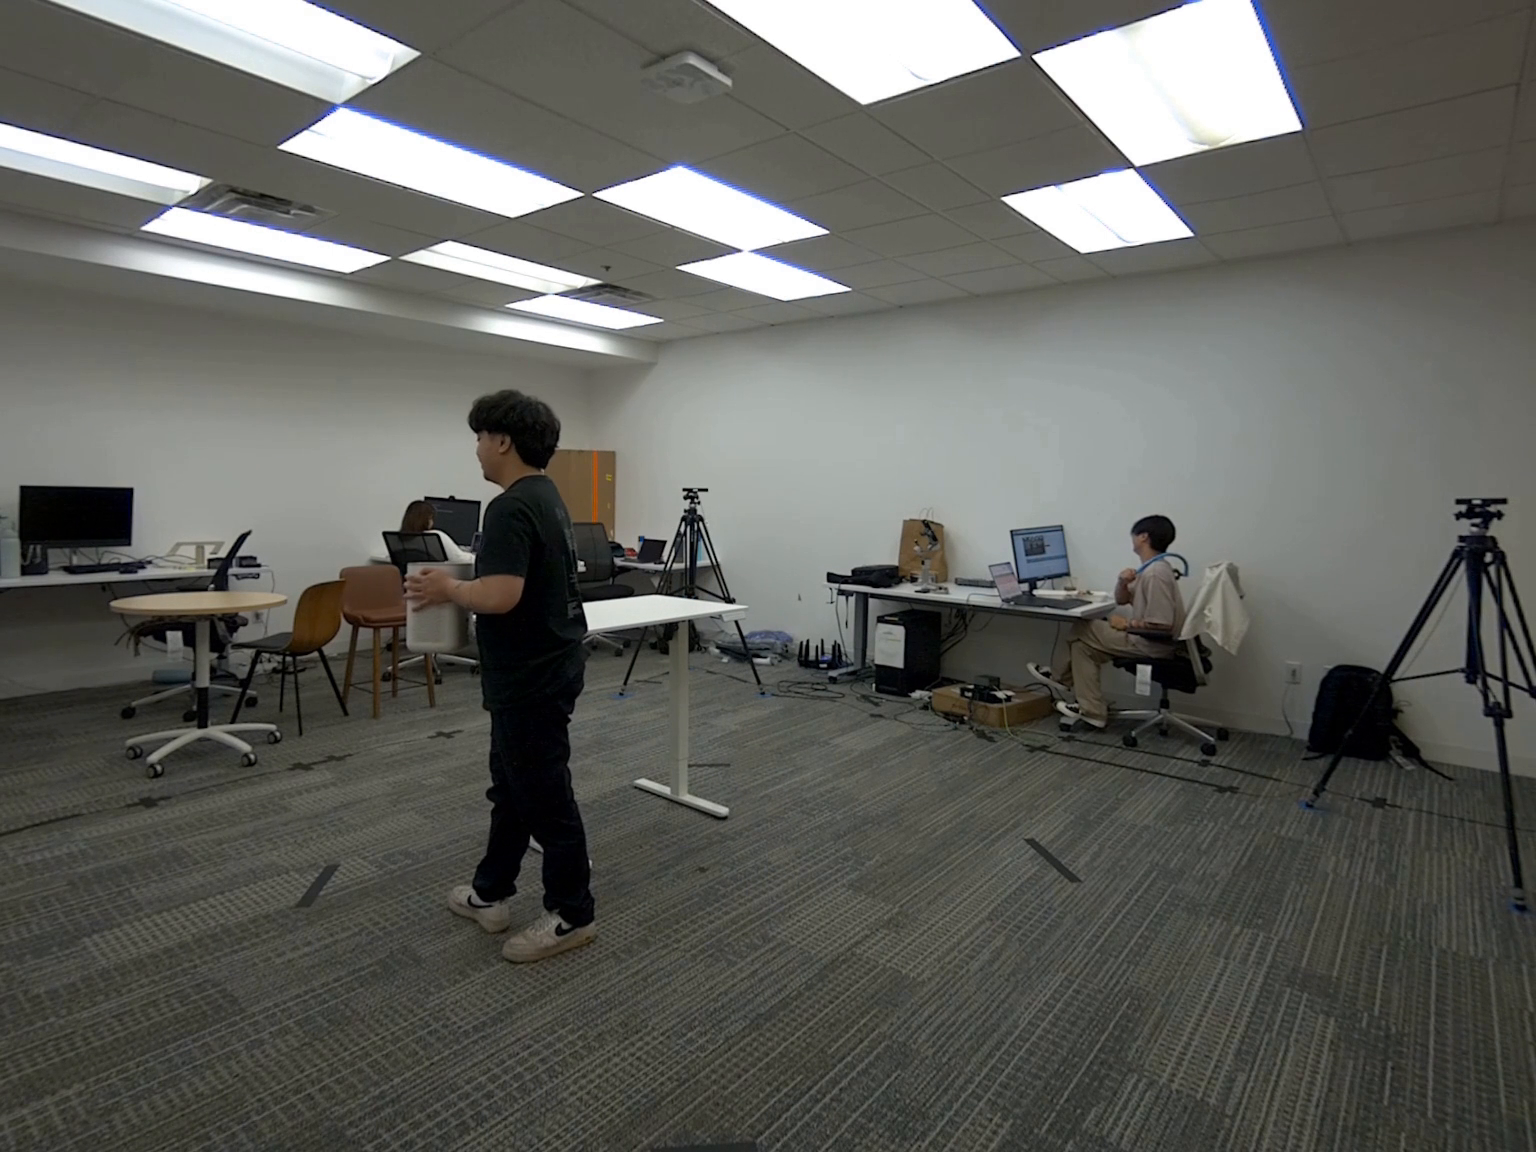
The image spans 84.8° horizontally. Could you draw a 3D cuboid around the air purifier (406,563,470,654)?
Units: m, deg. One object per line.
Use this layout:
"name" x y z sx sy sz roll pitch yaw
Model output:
"air purifier" -1.002 0.094 2.573 0.172 0.265 0.170 0 1 3
